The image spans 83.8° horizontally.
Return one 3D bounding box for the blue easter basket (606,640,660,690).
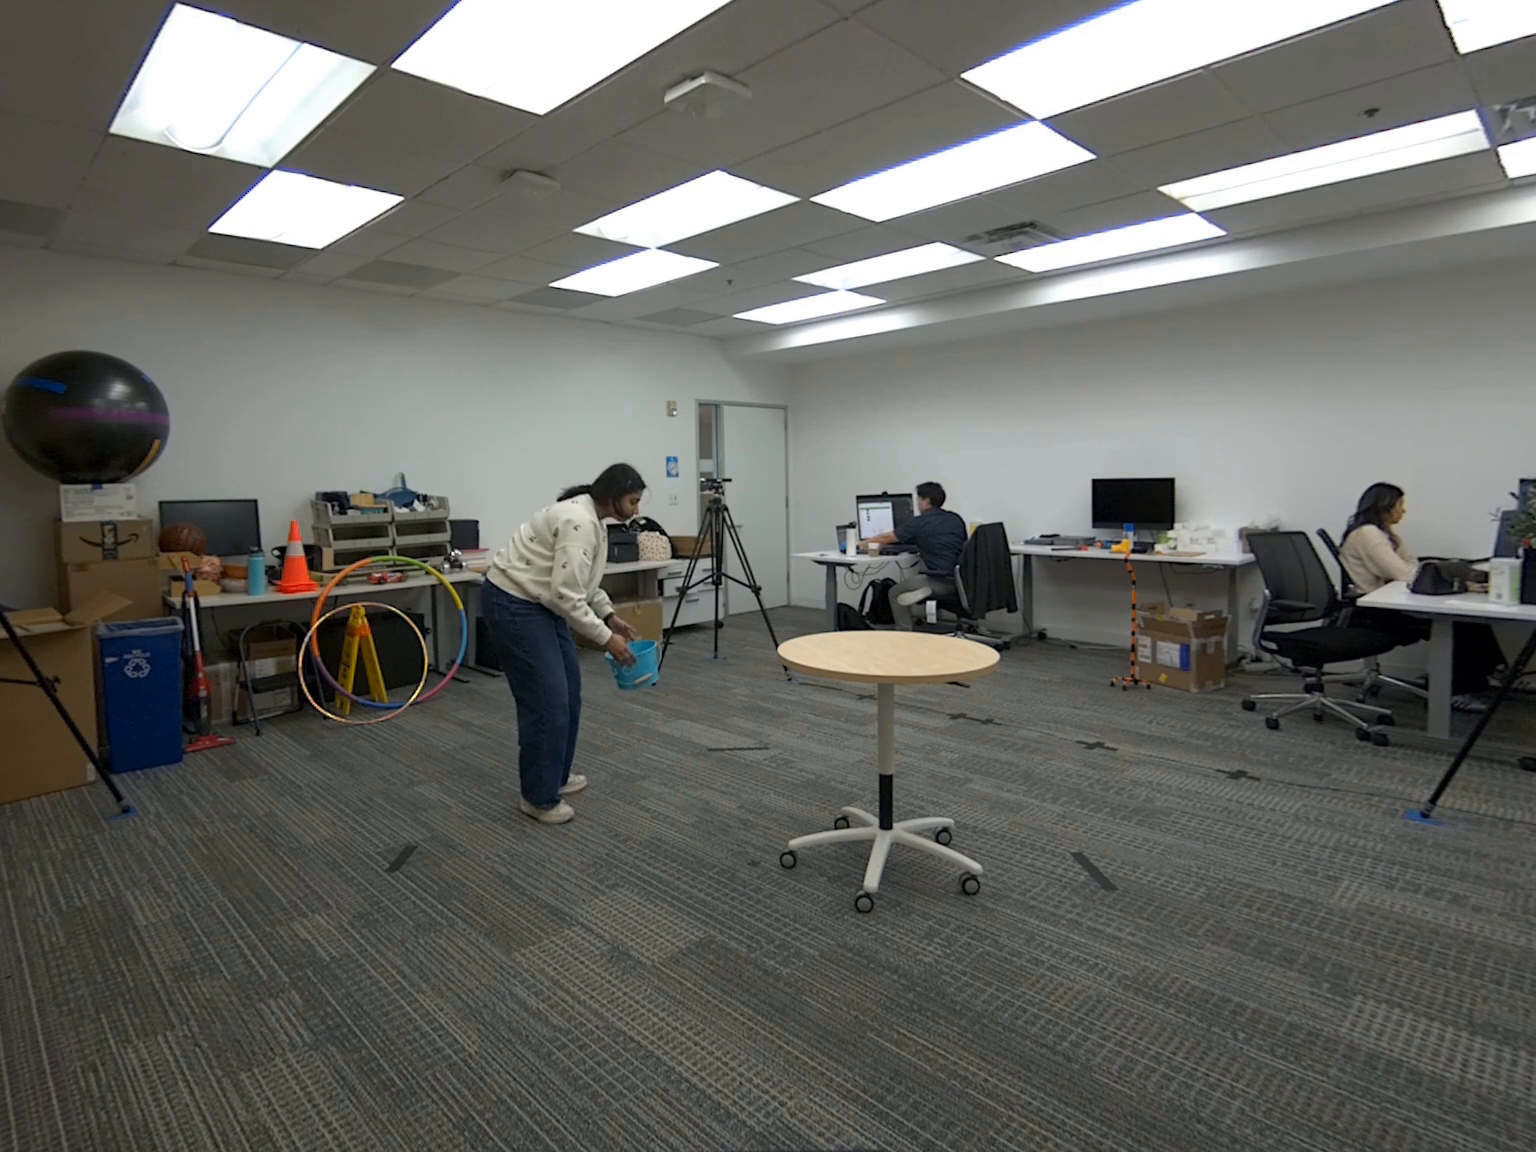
[{"bbox_3d":[-0.594,0.392,3.702,0.244,0.154,0.246,-11,9,0],"label":"blue easter basket"}]
